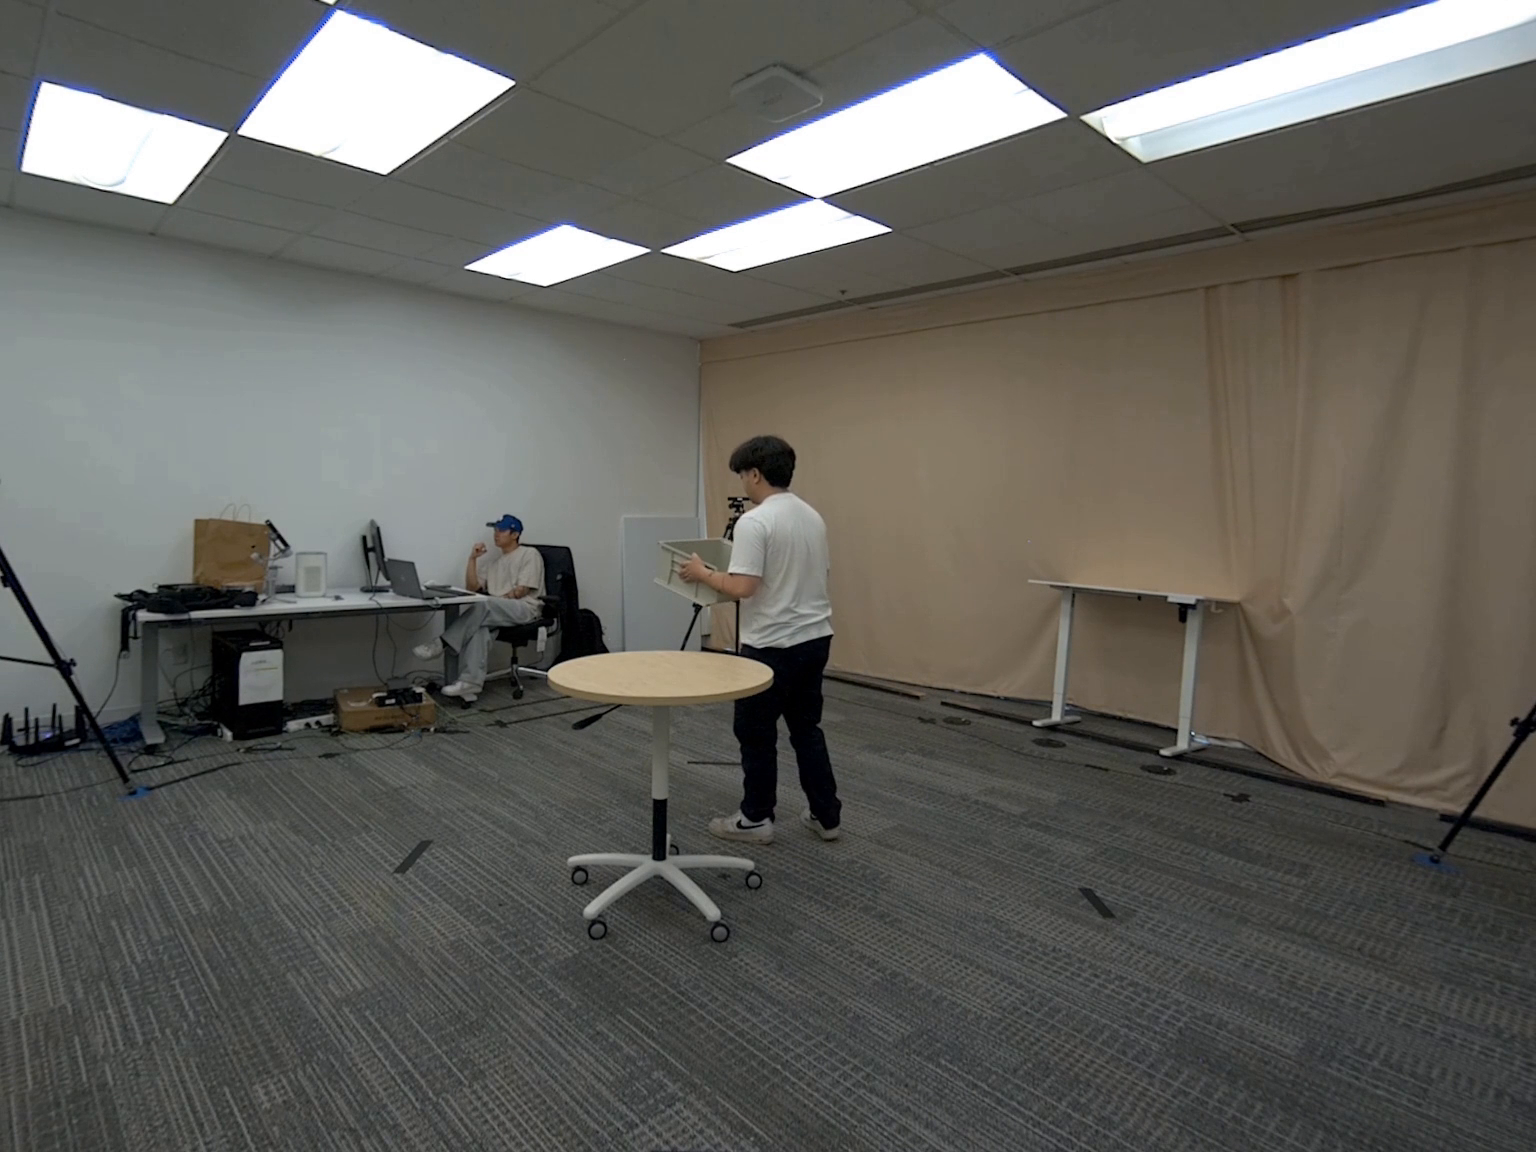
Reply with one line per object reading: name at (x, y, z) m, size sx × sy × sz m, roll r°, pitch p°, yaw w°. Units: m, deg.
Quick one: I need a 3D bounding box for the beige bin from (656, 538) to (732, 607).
beige bin at (-0.216, -0.013, 3.676) m, size 0.388 × 0.187 × 0.413 m, roll 20°, pitch 17°, yaw 37°
